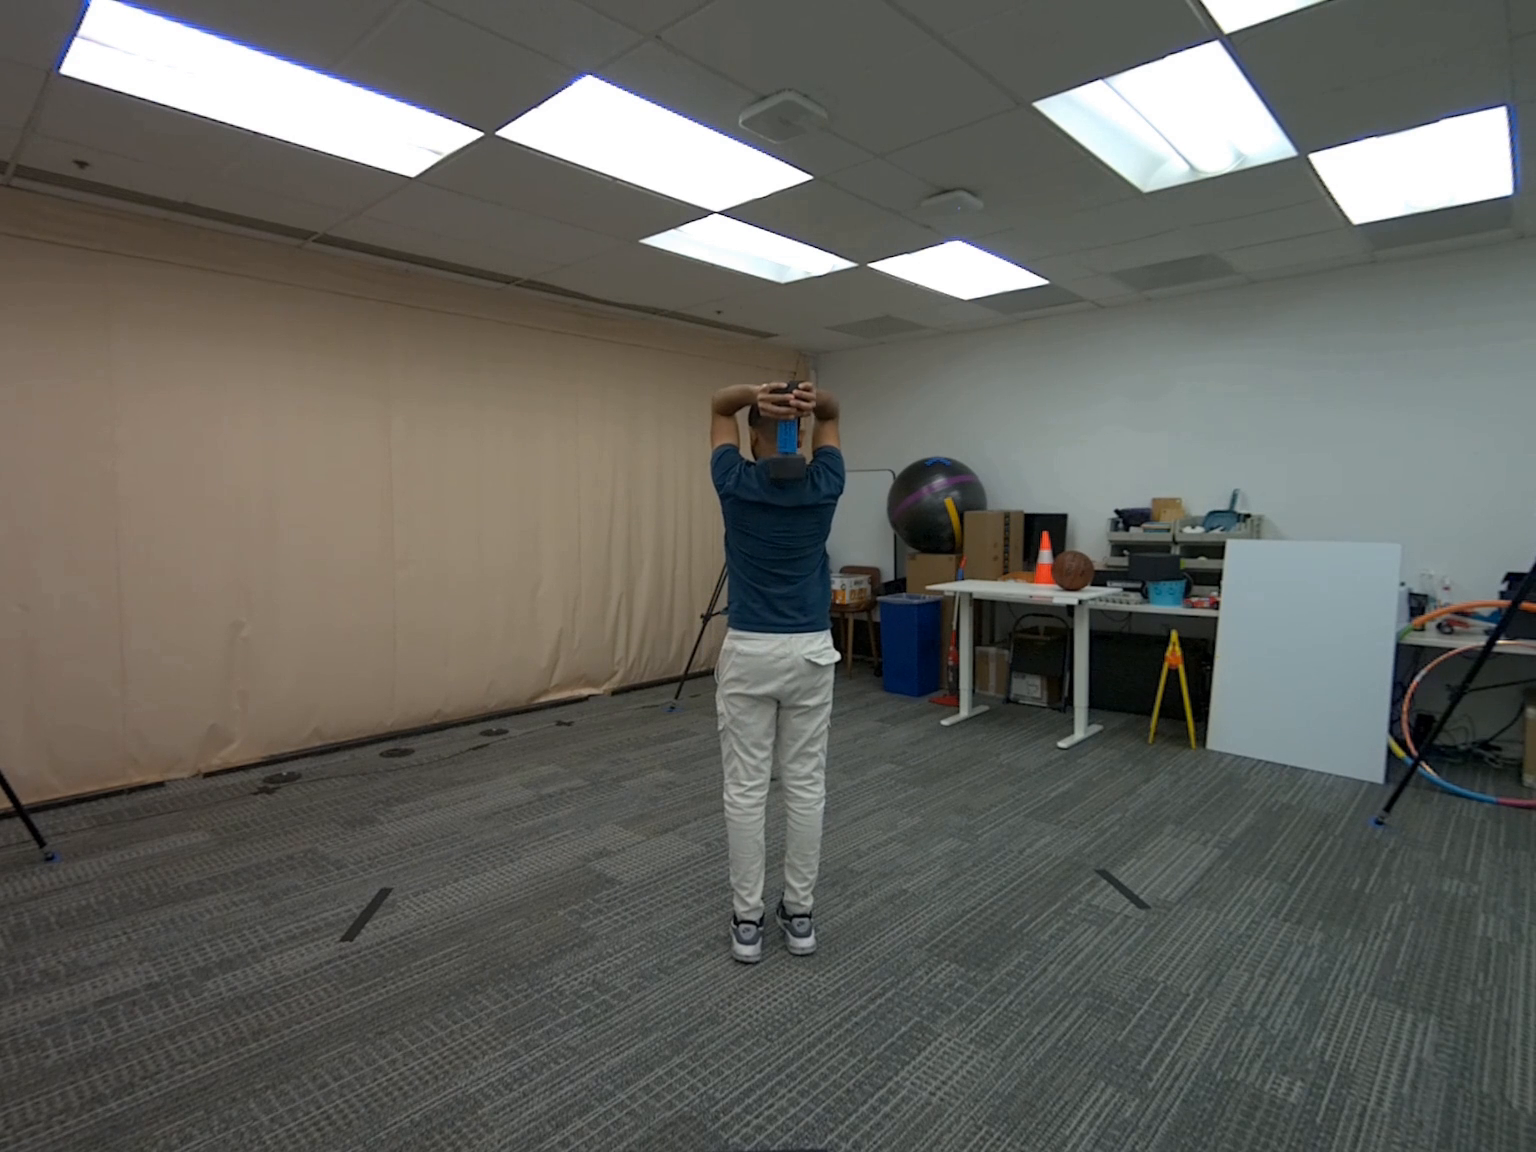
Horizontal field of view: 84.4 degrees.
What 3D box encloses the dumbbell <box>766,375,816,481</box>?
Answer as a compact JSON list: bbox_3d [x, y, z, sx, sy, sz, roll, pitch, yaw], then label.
[{"bbox_3d":[0.064,-0.431,2.478,0.108,0.292,0.124,4,7,-2],"label":"dumbbell"}]
